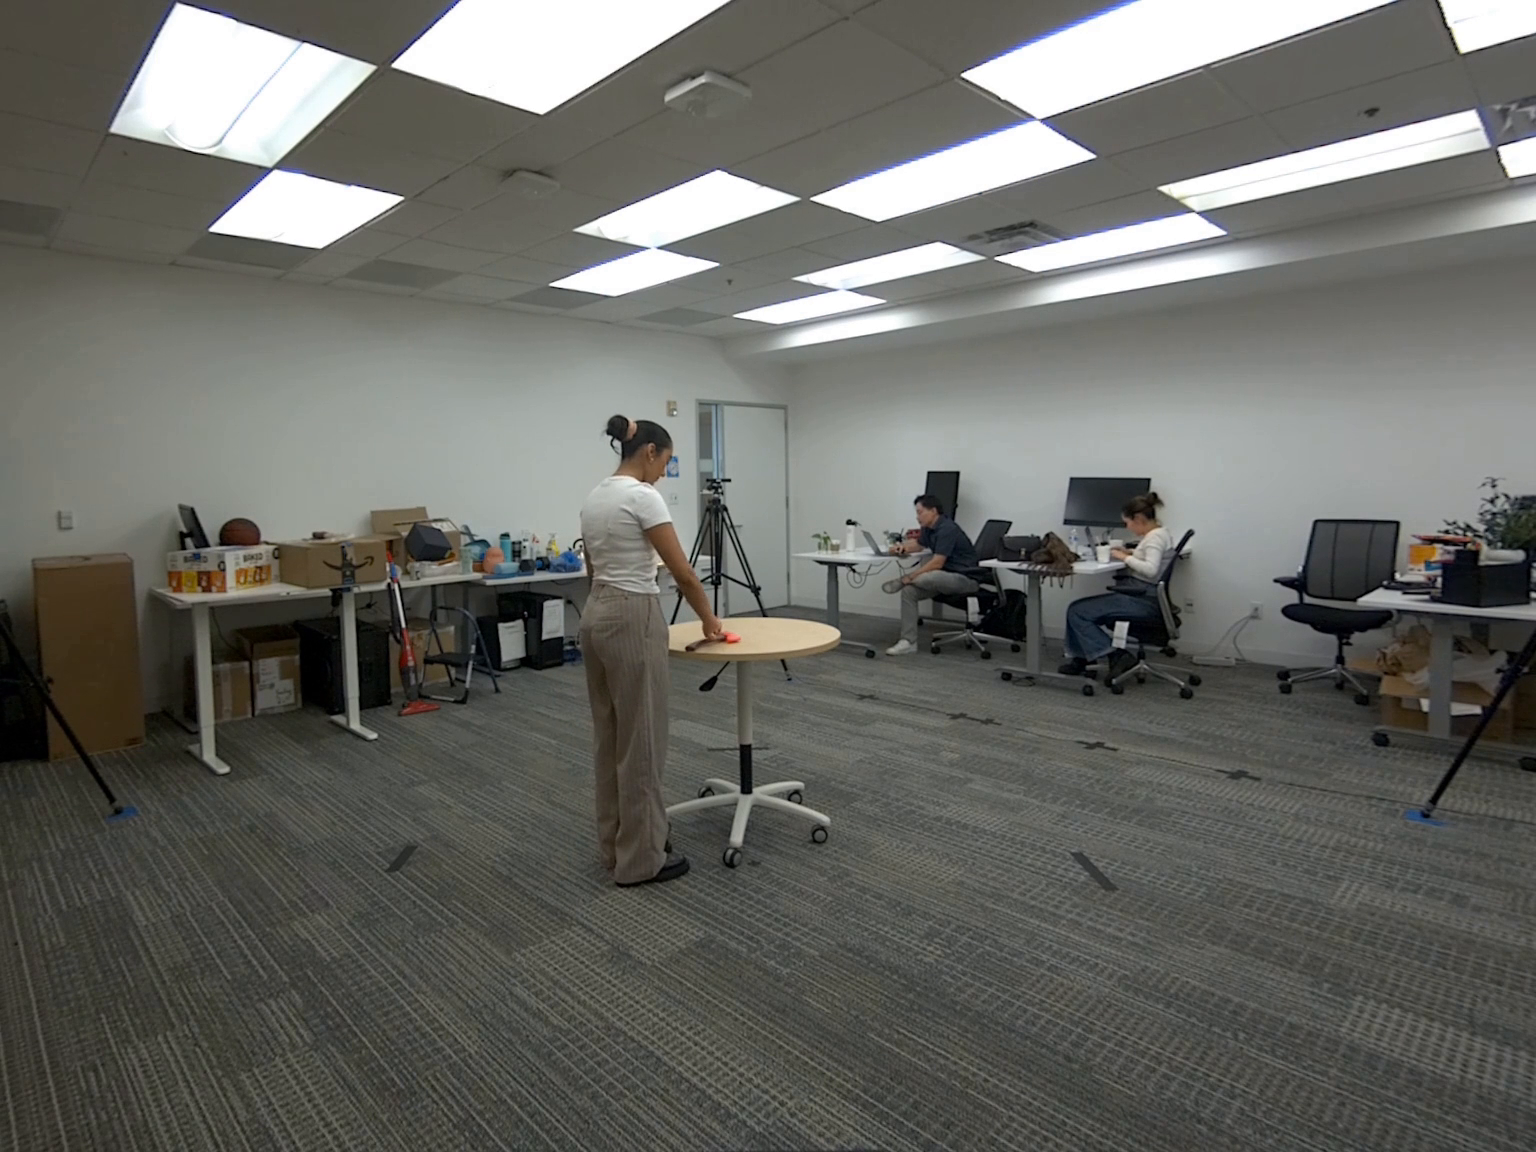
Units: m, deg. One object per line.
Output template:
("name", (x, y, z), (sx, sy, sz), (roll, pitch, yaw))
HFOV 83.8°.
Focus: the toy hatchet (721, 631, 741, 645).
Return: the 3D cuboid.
("toy hatchet", (-0.194, 0.247, 3.160), (0.134, 0.029, 0.266), (5, 11, 22))
